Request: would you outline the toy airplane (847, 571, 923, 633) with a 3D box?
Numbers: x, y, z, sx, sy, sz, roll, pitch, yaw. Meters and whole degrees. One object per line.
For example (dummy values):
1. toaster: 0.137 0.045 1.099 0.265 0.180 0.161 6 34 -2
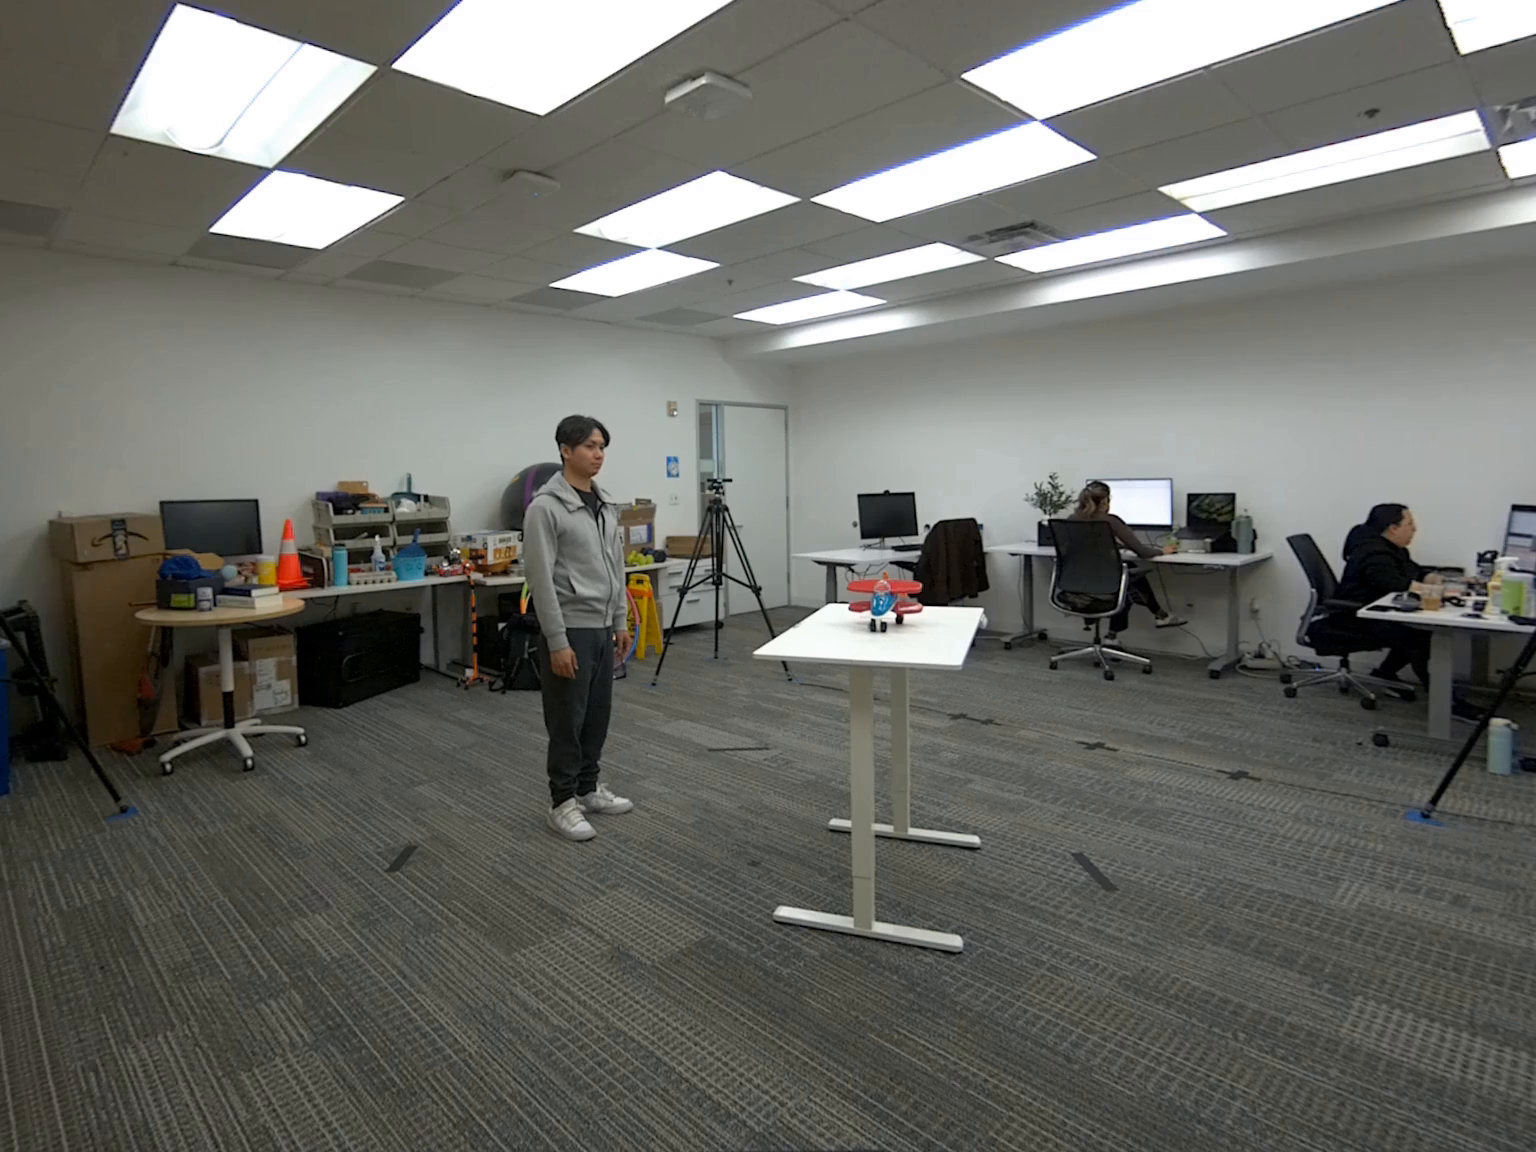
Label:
1. toy airplane: 0.414 0.099 2.913 0.249 0.156 0.262 -3 6 -9
